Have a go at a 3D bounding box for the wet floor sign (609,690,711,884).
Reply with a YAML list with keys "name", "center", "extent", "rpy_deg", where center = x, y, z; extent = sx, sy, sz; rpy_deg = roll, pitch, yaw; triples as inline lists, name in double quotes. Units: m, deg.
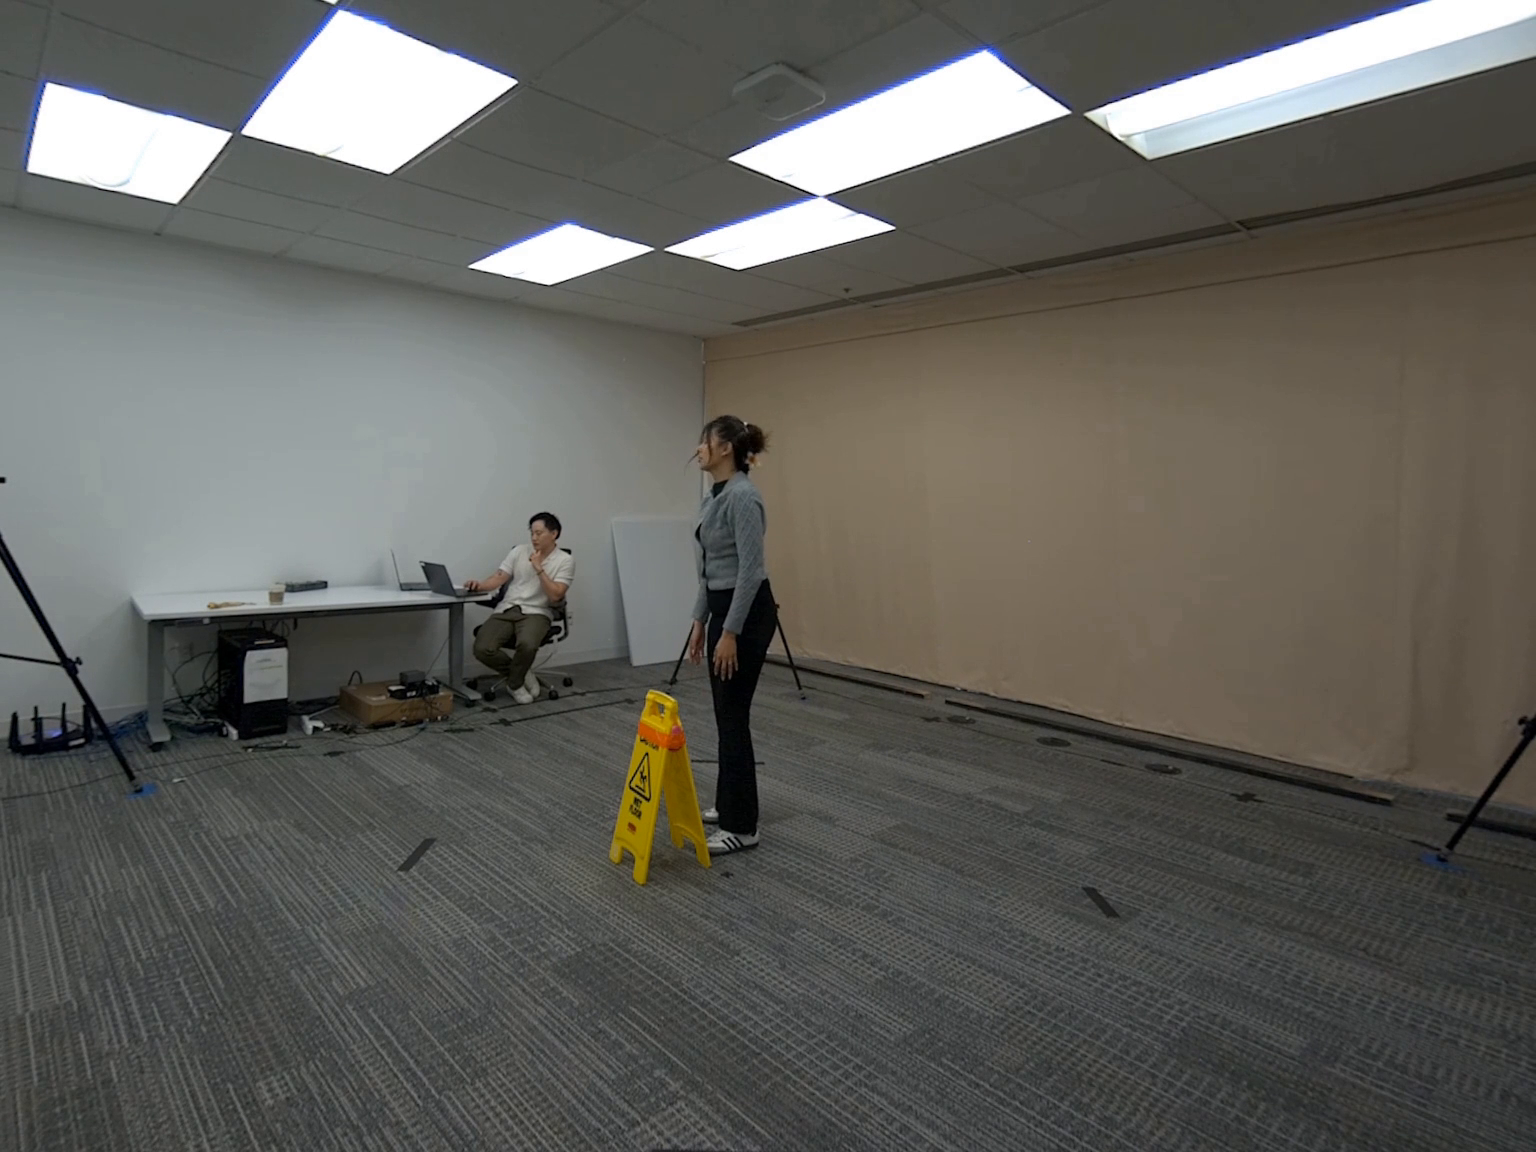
- name: "wet floor sign"
  center: [-0.413, 0.766, 3.169]
  extent: [0.283, 0.645, 0.289]
  rpy_deg: [-1, 3, -34]
